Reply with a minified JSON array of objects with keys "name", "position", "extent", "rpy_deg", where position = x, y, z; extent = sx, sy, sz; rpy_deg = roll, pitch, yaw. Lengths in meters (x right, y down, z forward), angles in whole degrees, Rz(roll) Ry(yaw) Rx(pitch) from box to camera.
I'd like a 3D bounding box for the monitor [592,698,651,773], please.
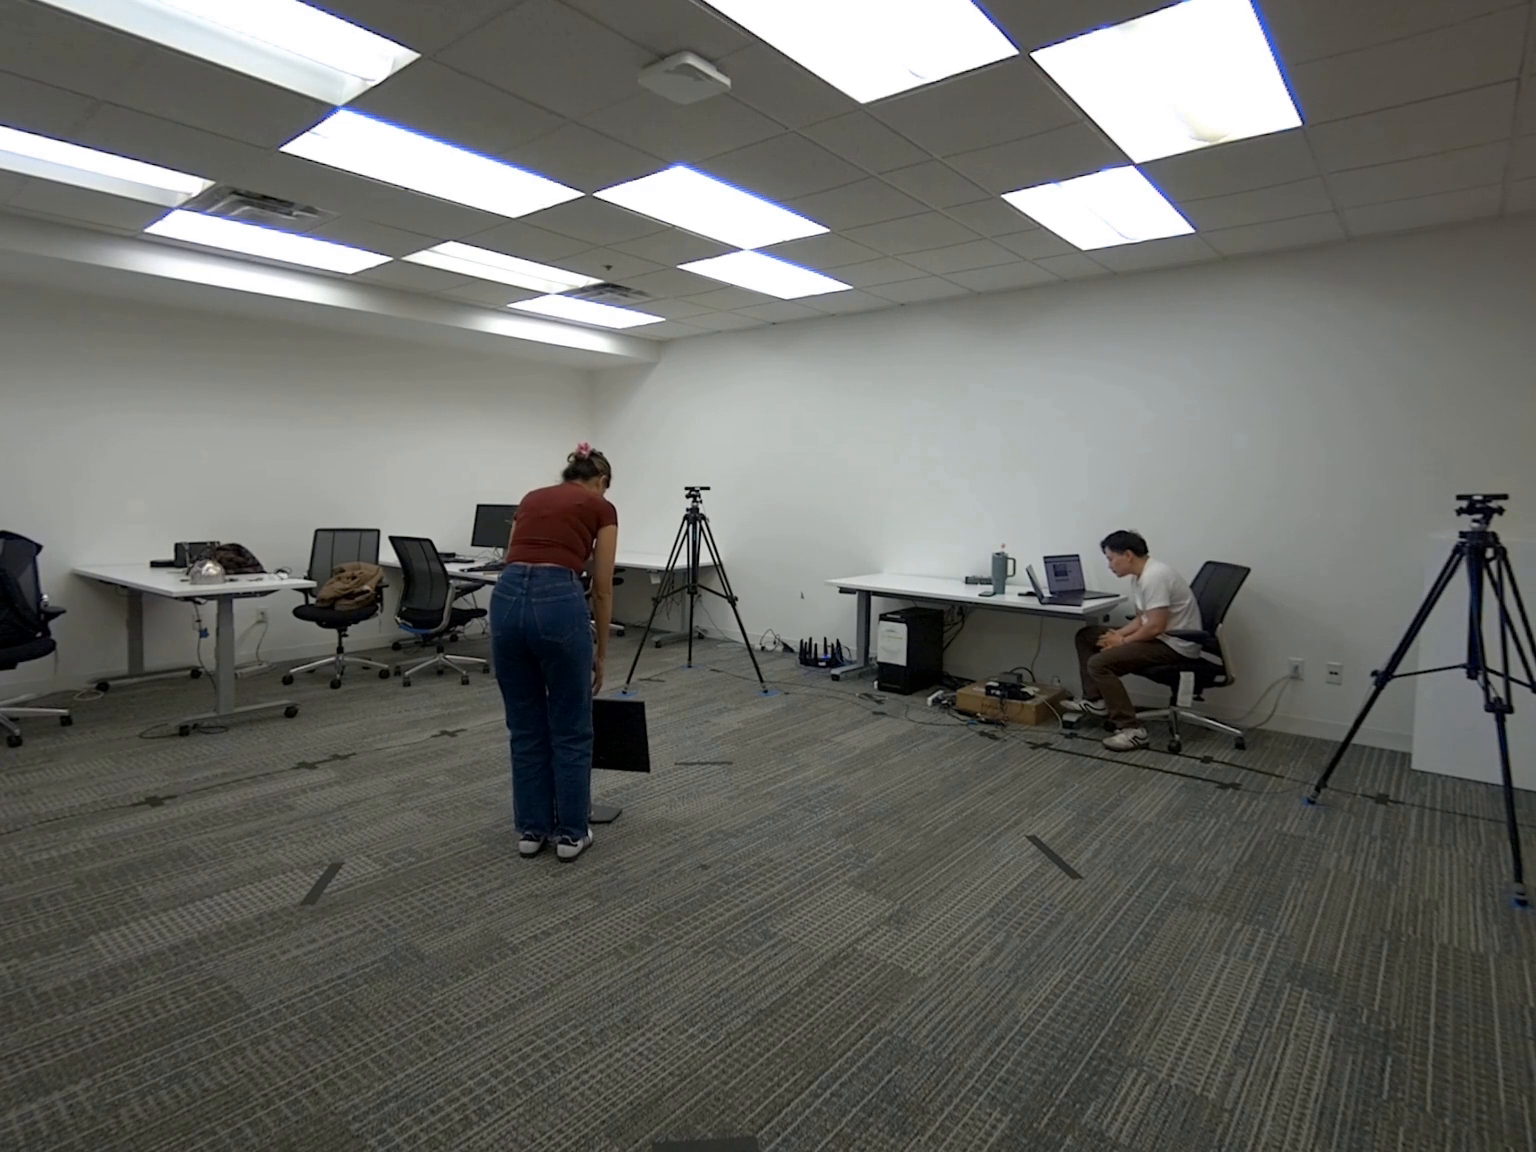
[{"name":"monitor","position":[-0.778,0.758,3.576],"extent":[0.545,0.520,0.186],"rpy_deg":[1,6,9]}]
